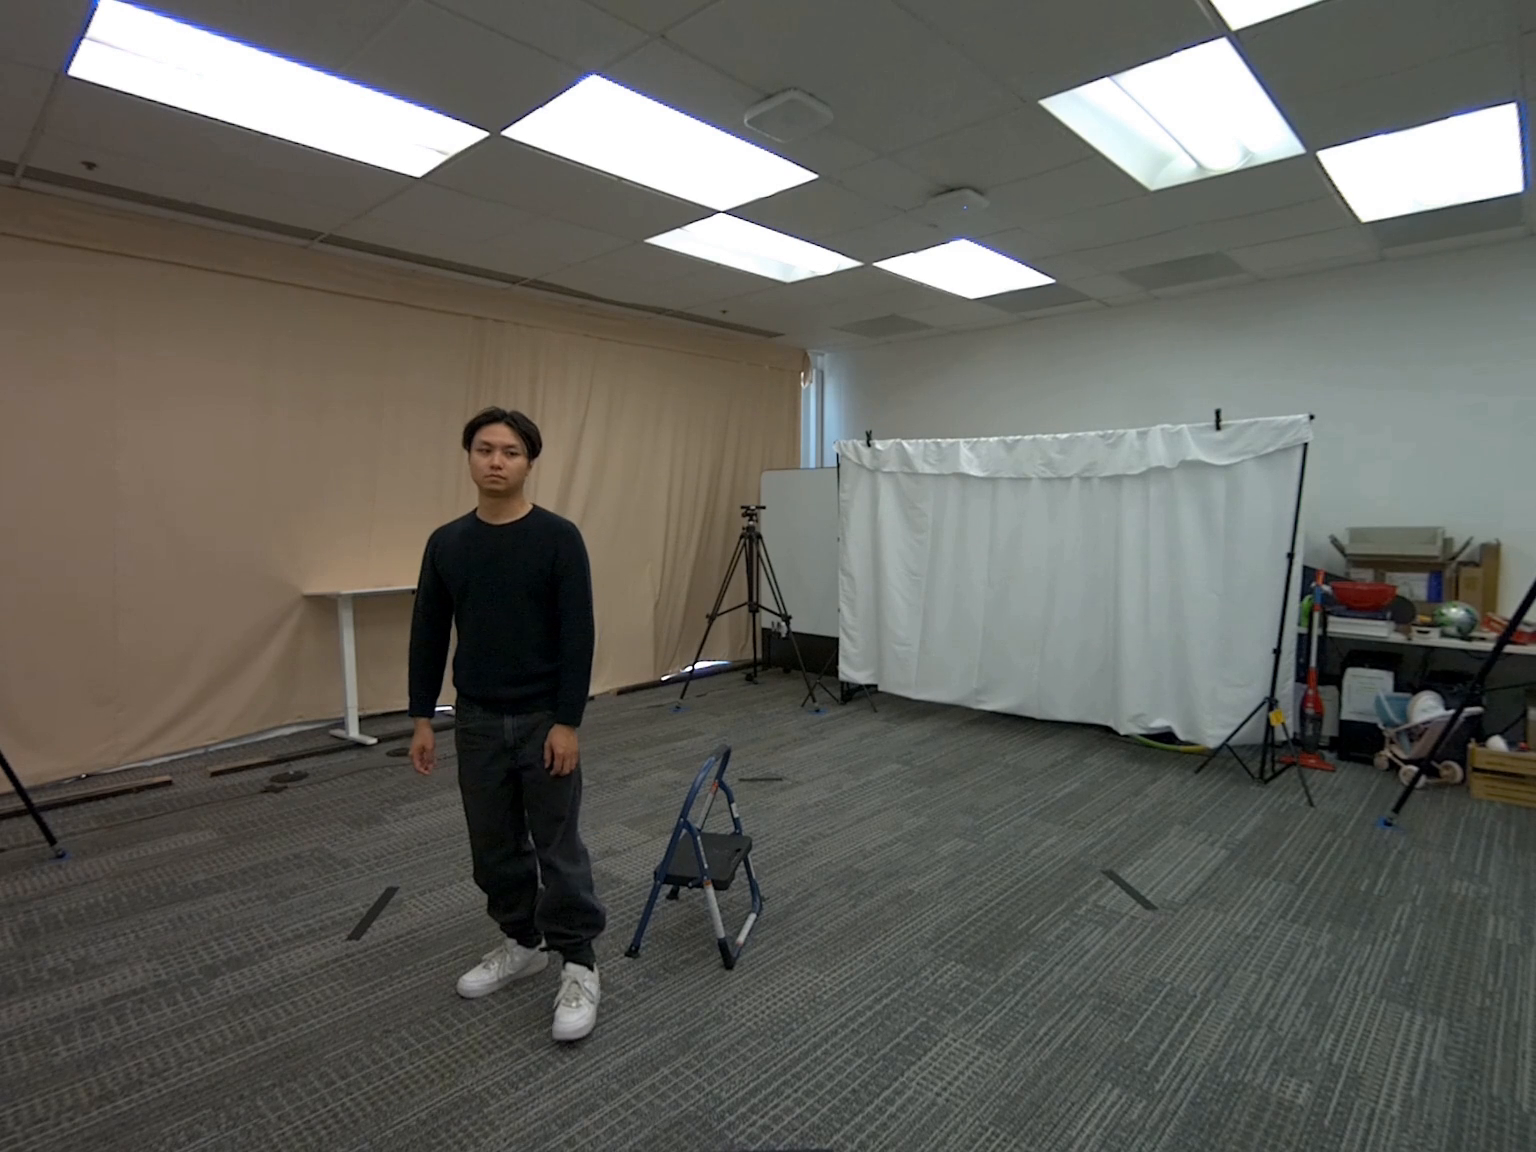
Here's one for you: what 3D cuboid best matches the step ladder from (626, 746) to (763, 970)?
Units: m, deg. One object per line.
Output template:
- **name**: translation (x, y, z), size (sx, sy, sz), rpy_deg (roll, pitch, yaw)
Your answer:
- **step ladder**: translation (-0.231, 0.863, 2.747), size (0.355, 0.605, 0.425), rpy_deg (0, 3, 14)
